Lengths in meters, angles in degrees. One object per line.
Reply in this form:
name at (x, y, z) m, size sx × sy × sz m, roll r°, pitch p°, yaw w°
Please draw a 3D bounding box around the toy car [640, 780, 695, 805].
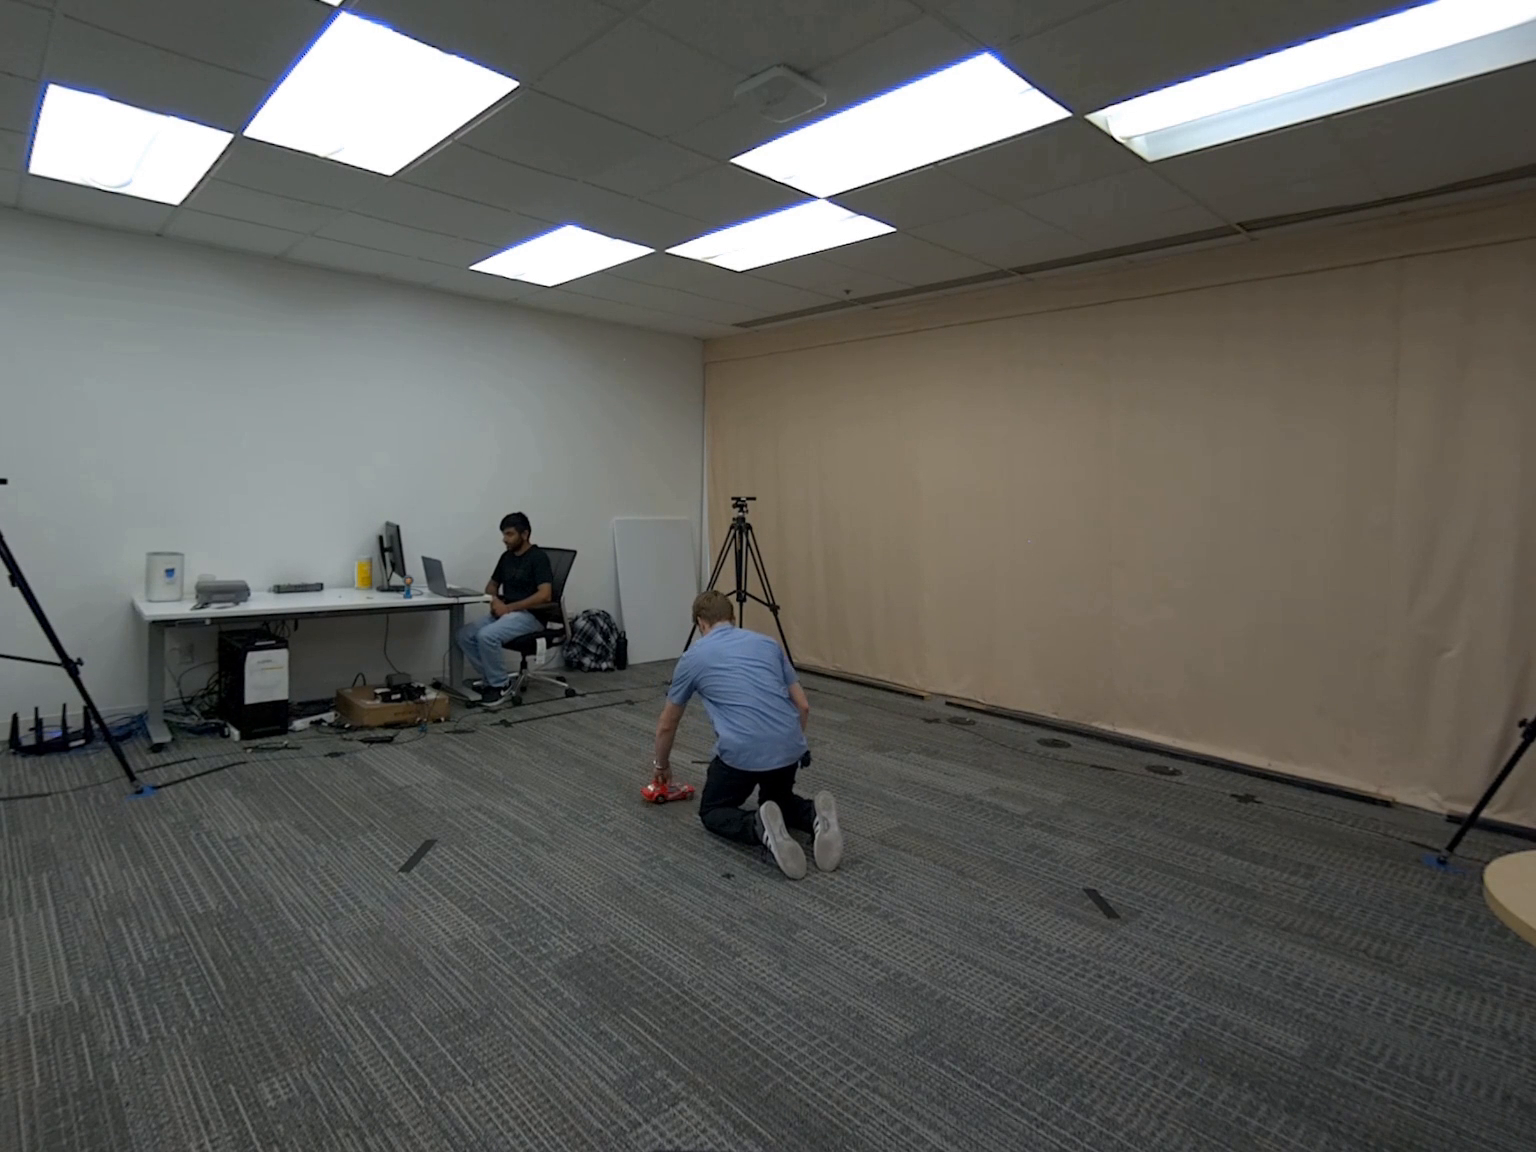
toy car at (-0.475, 0.998, 3.881) m, size 0.249 × 0.083 × 0.133 m, roll 11°, pitch -2°, yaw -28°
